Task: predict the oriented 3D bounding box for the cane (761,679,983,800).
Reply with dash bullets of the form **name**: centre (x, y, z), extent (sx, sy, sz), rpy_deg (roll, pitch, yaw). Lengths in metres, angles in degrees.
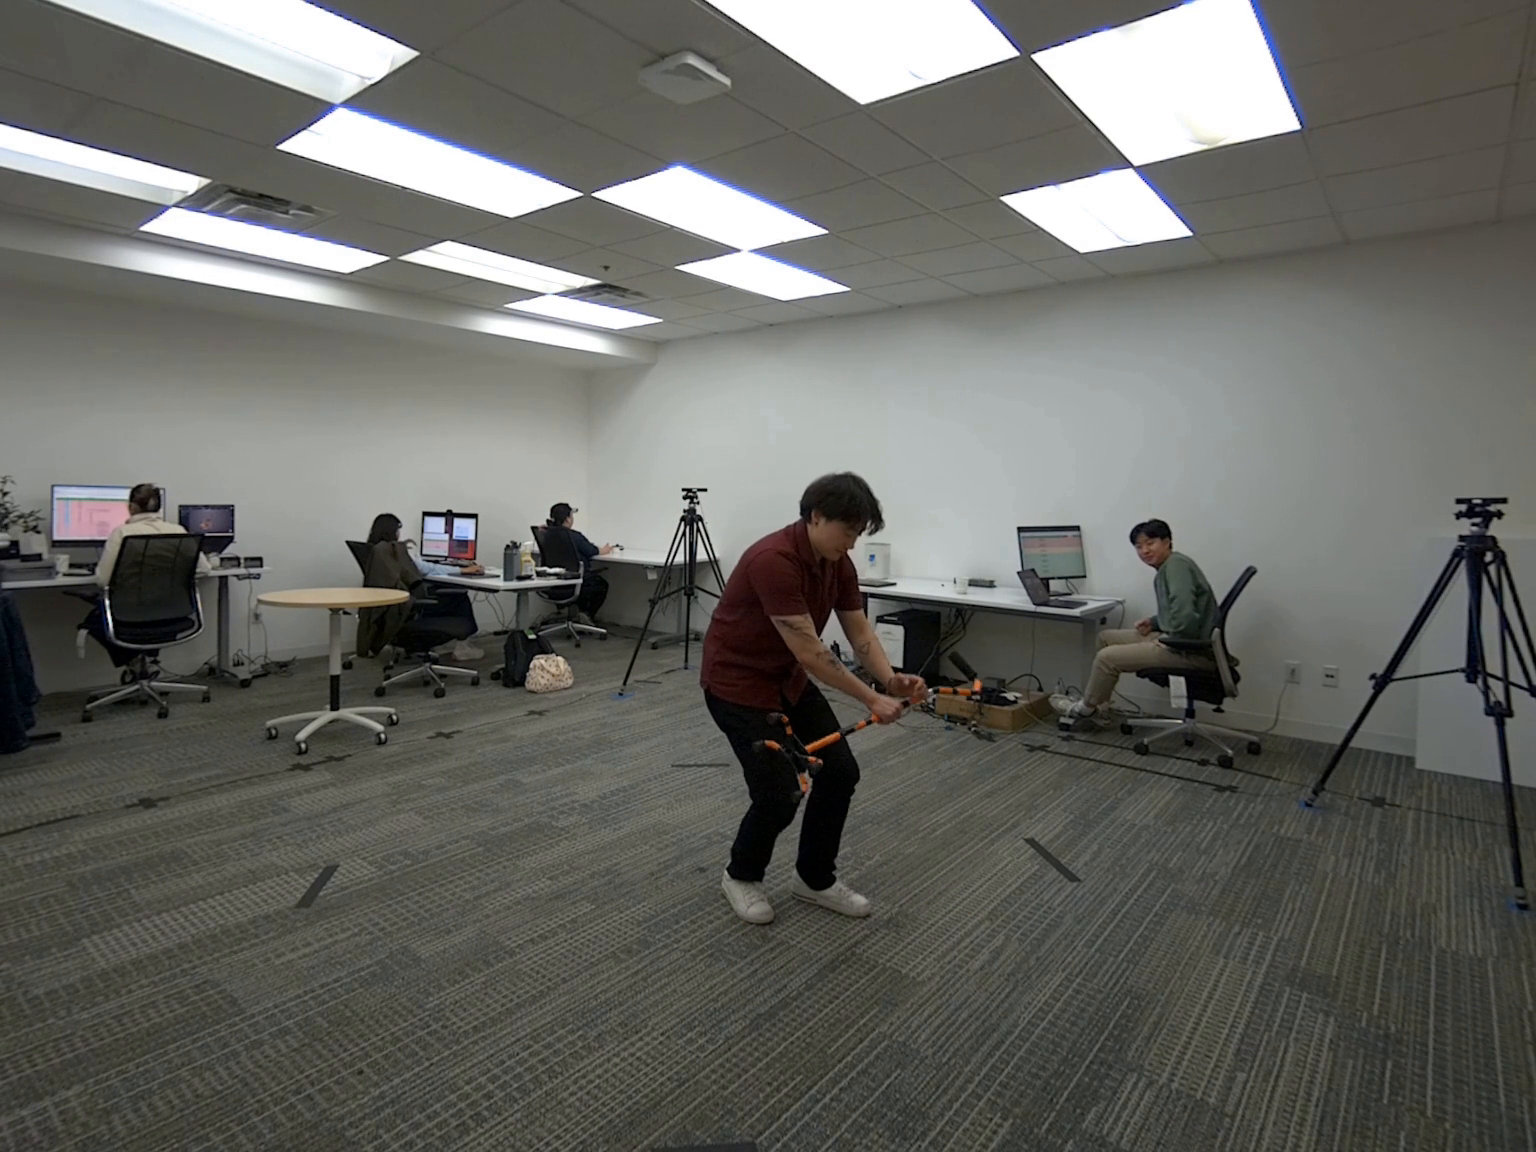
- **cane**: centre (0.364, 0.422, 2.571), extent (0.886, 0.149, 0.215), rpy_deg (-14, 47, -39)
